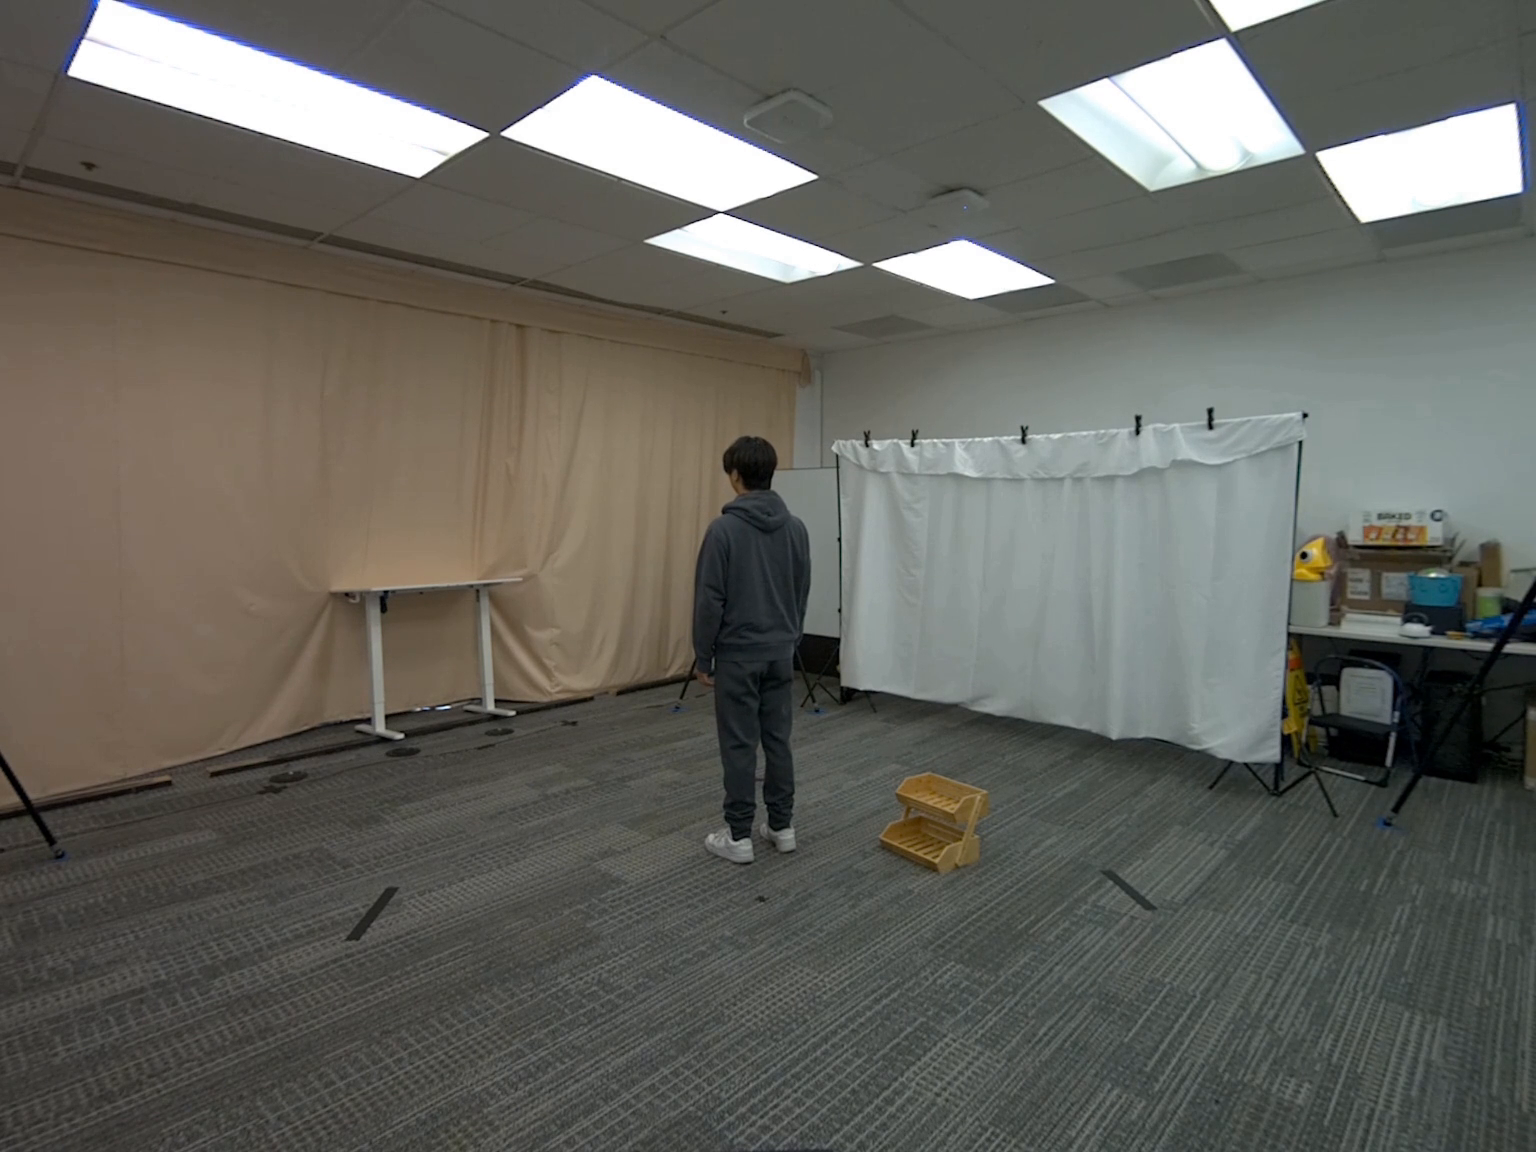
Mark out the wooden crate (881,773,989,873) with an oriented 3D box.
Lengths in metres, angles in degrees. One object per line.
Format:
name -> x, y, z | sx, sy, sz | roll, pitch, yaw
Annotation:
wooden crate -> 0.661, 0.972, 3.375 | 0.293, 0.273, 0.335 | -2, 5, -38
